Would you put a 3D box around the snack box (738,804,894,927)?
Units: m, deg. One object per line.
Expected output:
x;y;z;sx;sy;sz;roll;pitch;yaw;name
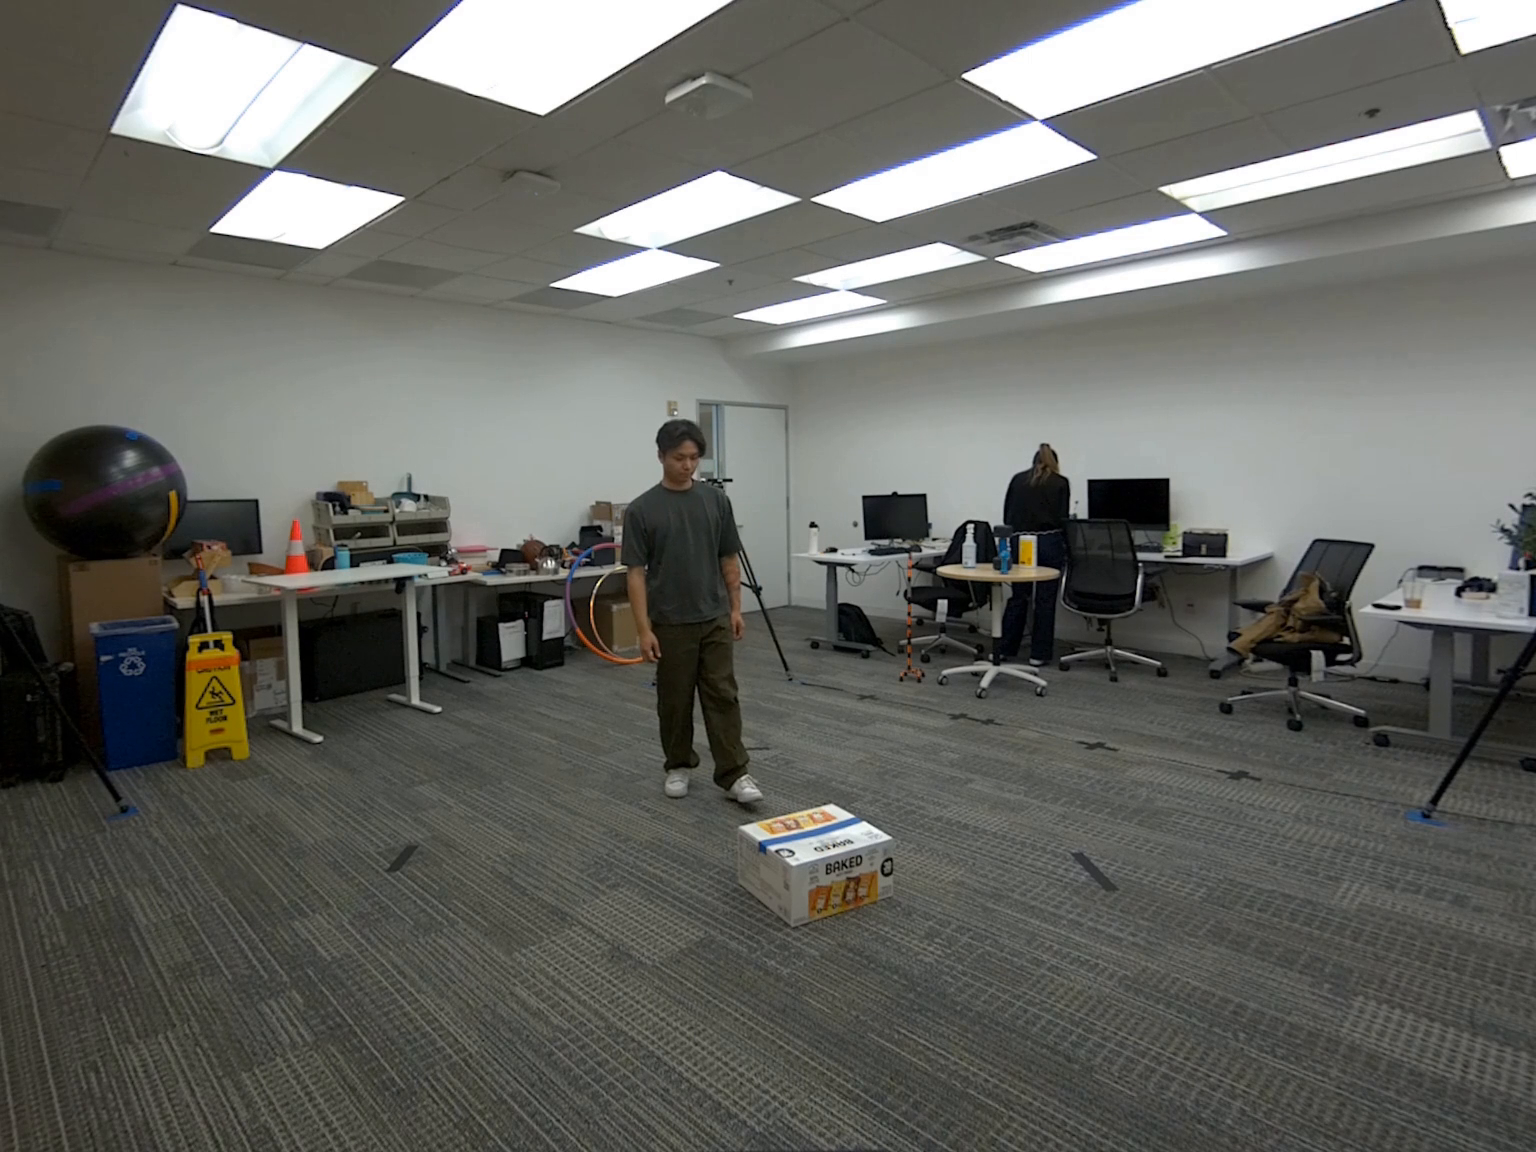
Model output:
0.157;0.960;2.882;0.396;0.205;0.350;-4;7;-30;snack box
